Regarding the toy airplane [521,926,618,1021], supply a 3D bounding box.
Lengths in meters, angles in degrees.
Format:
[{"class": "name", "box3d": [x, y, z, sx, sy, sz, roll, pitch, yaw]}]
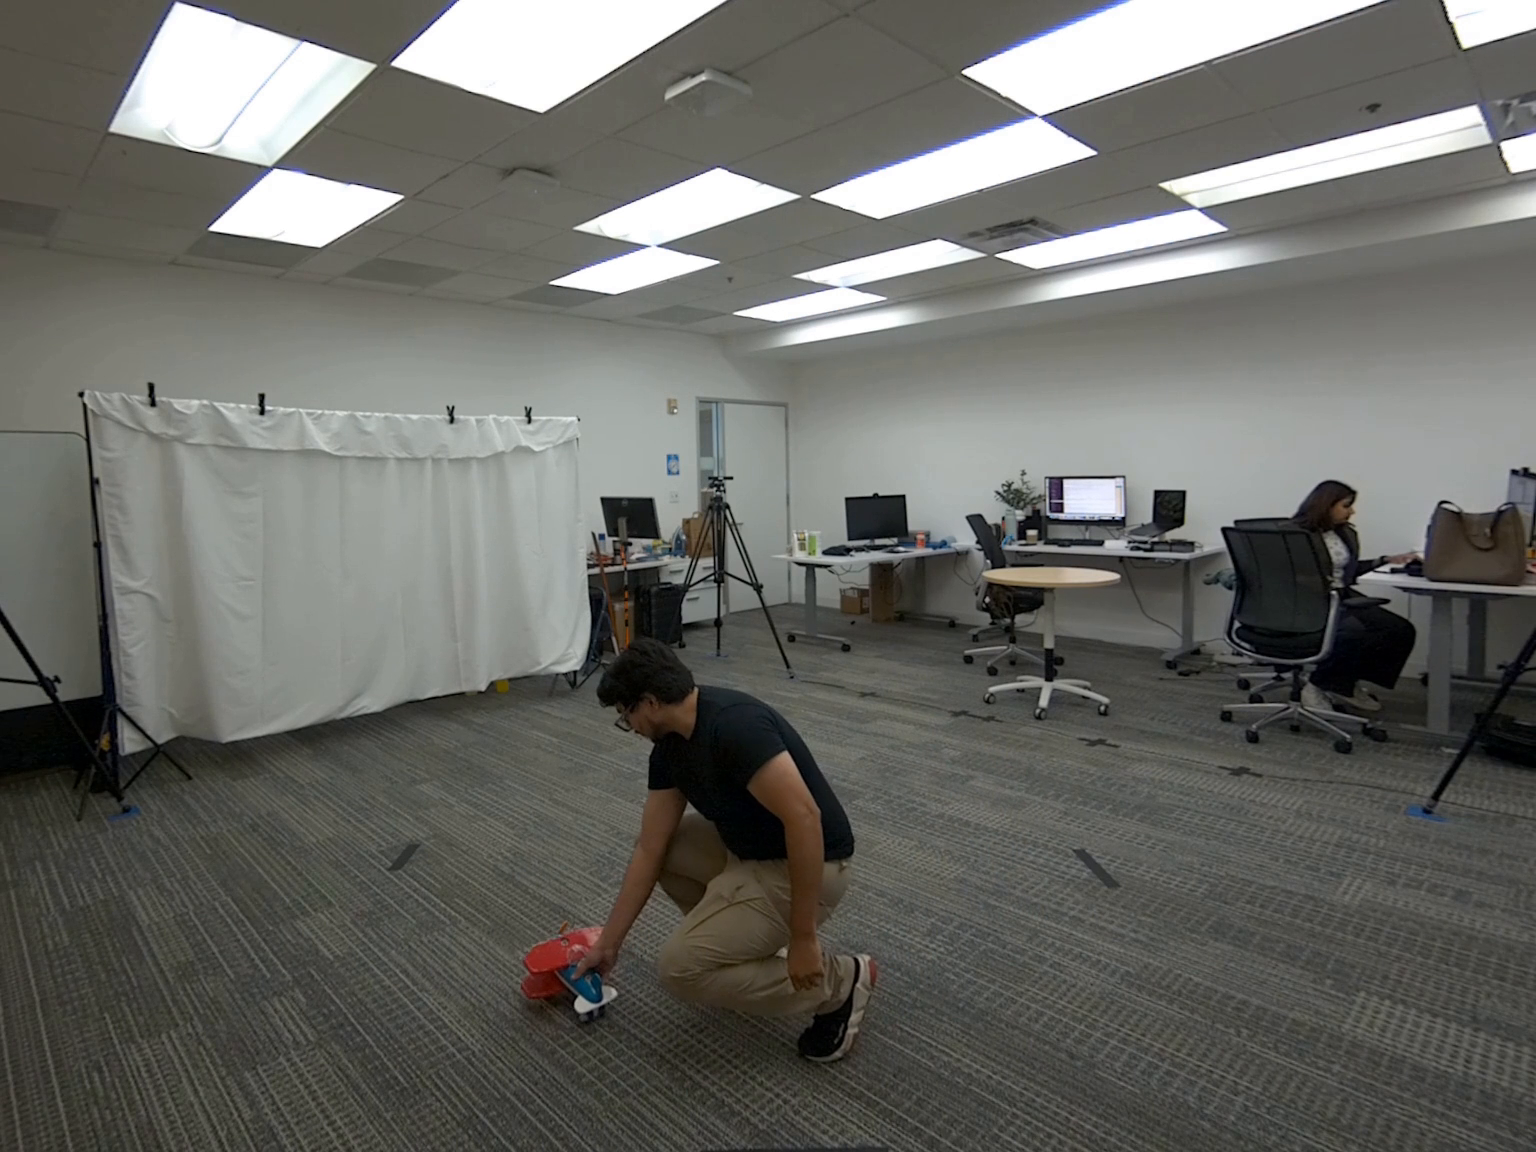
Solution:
[{"class": "toy airplane", "box3d": [-0.499, 1.071, 2.300, 0.264, 0.156, 0.248, -1, 5, 18]}]
